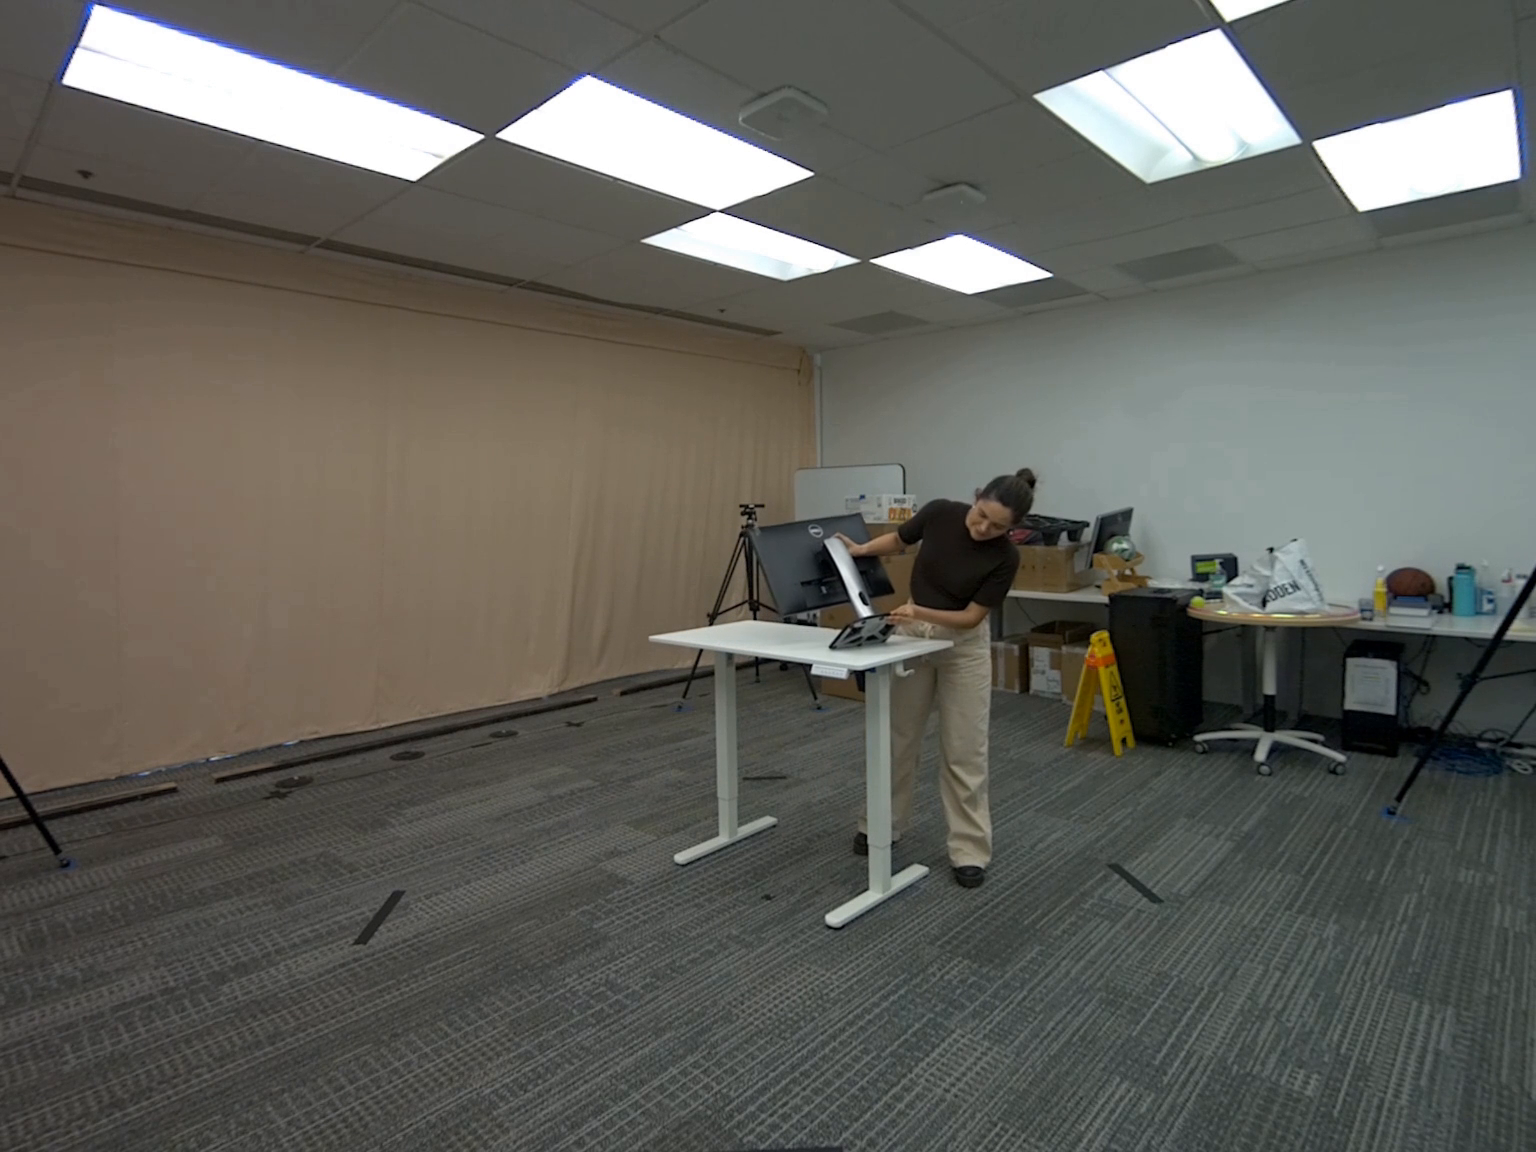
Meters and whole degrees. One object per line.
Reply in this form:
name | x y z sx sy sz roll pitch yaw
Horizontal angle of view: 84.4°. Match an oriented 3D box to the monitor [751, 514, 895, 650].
monitor | 0.261 0.003 3.060 0.524 0.537 0.187 -7 -35 -34
